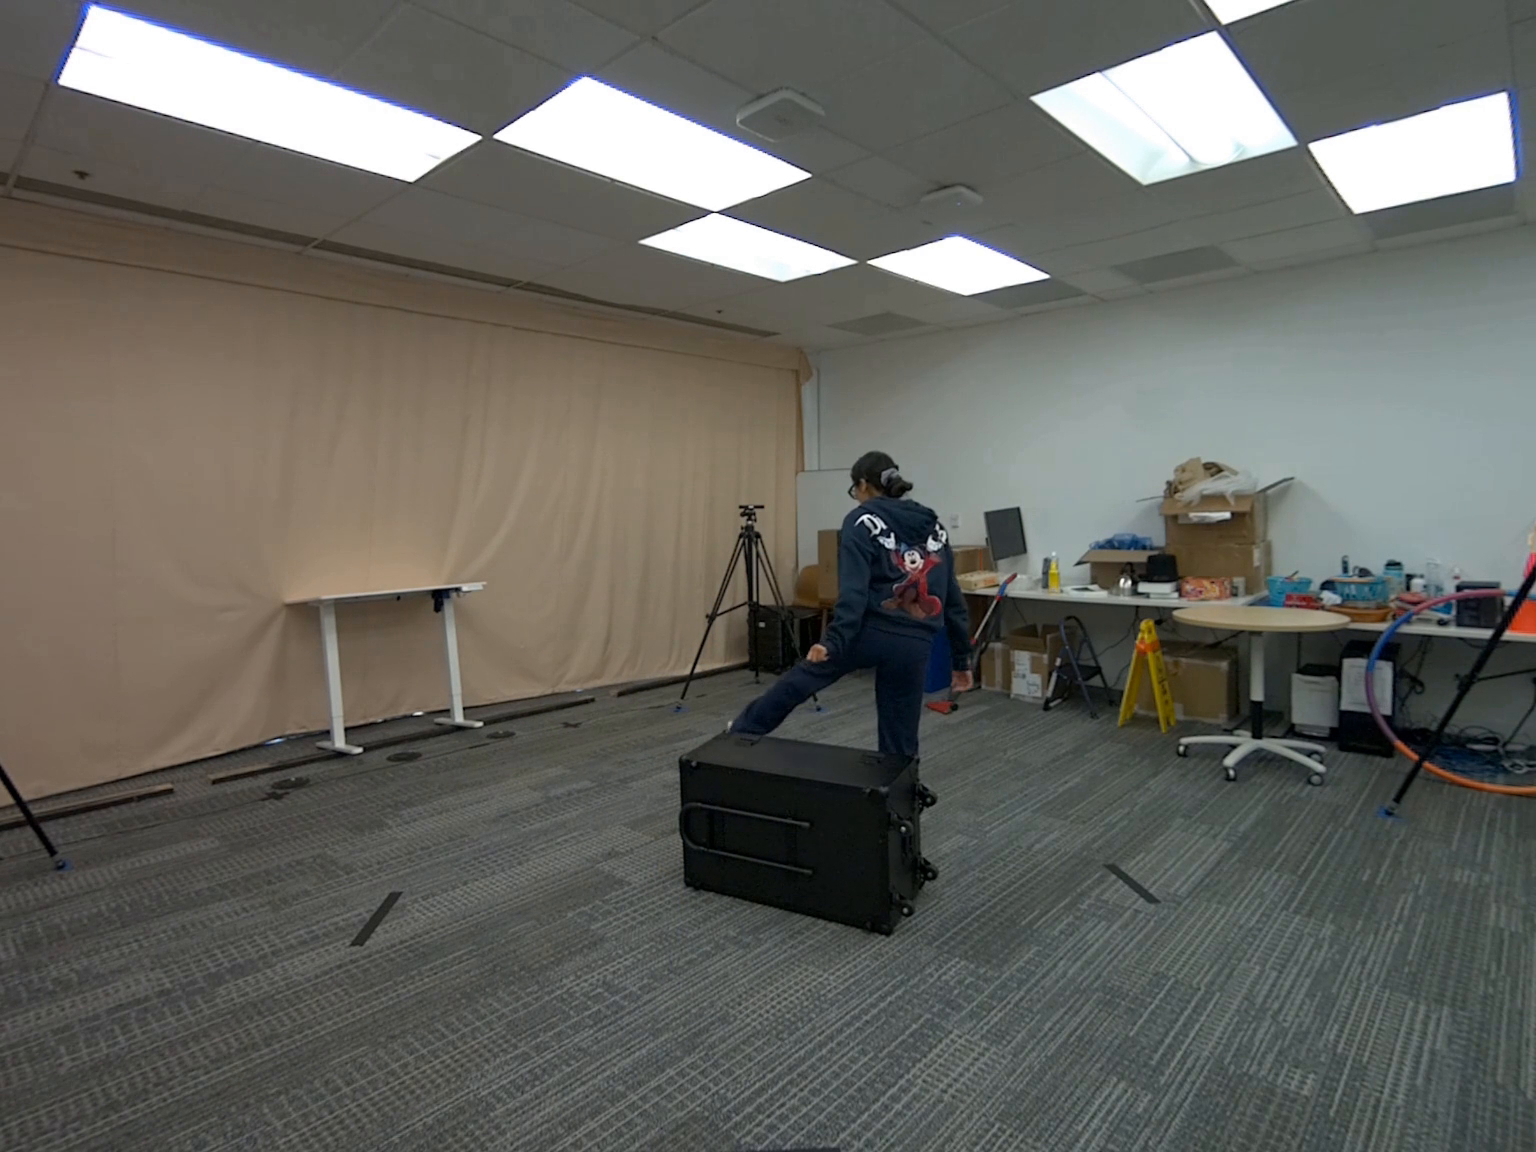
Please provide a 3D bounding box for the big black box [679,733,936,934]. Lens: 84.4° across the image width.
[{"bbox_3d":[0.133,0.878,3.001,0.885,0.519,0.387,1,6,29],"label":"big black box"}]
